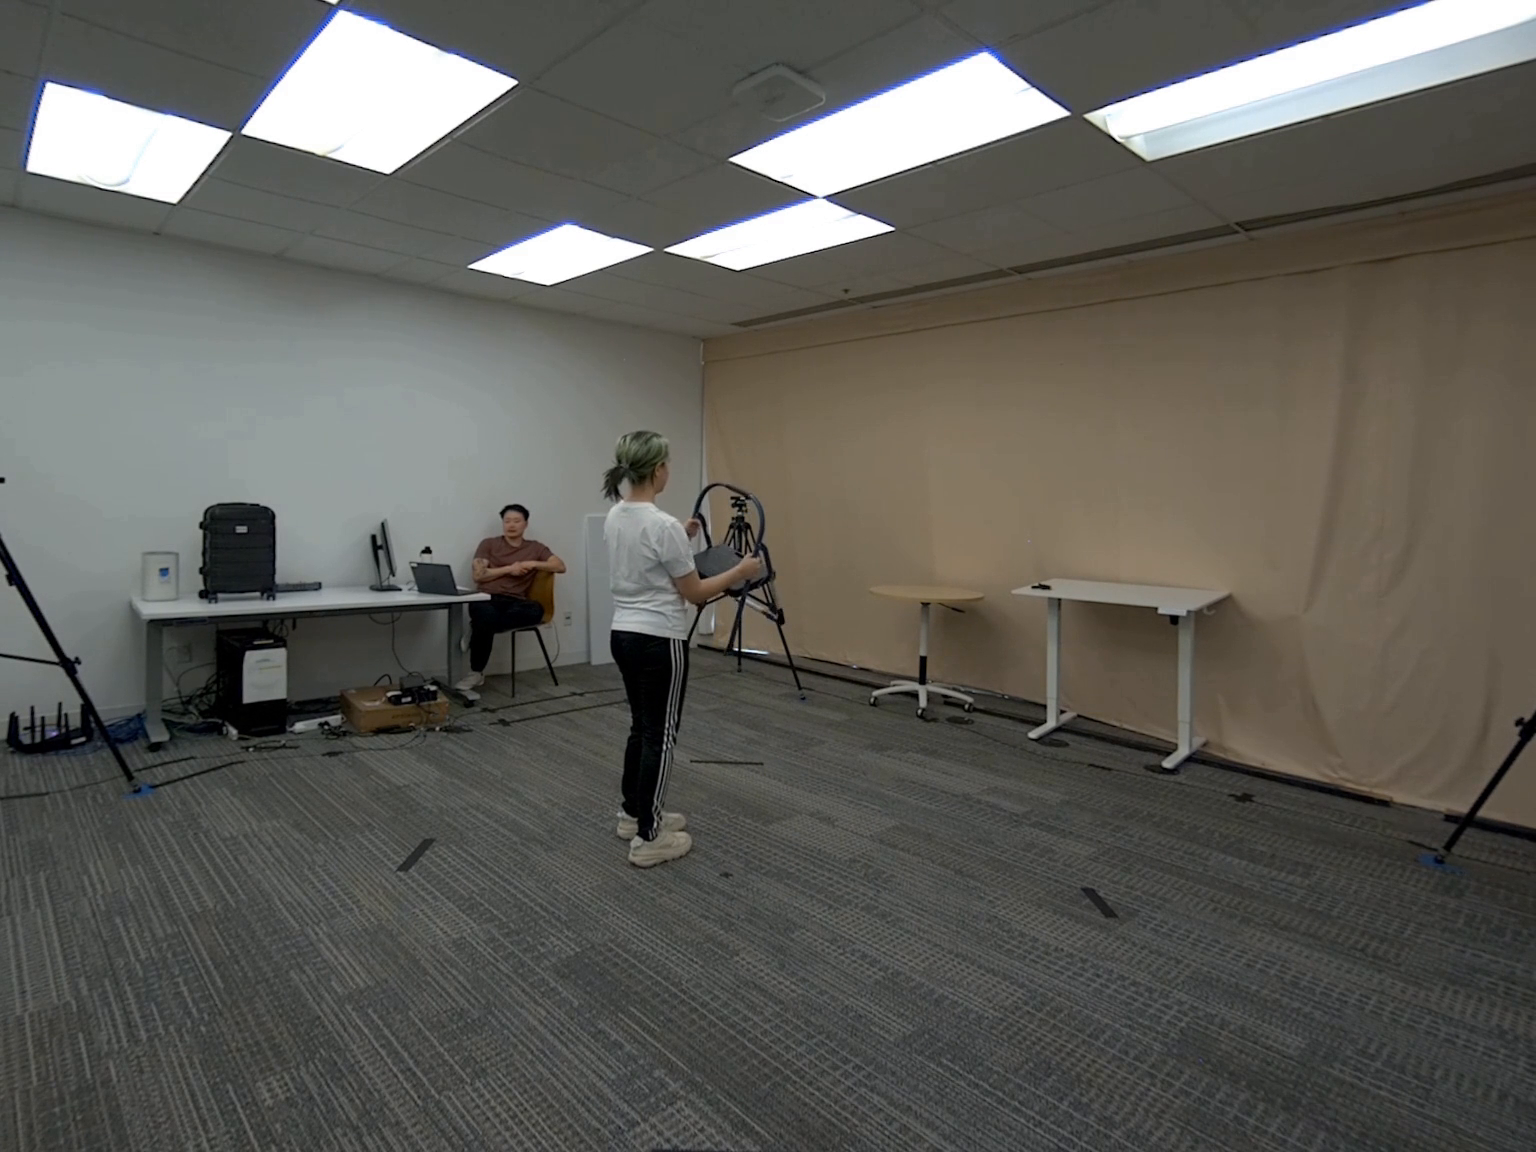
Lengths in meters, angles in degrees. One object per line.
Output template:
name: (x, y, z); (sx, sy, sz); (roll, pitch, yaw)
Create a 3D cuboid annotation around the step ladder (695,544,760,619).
step ladder: (-0.189, -0.073, 3.529); (0.345, 0.595, 0.444); (-23, 36, -38)
